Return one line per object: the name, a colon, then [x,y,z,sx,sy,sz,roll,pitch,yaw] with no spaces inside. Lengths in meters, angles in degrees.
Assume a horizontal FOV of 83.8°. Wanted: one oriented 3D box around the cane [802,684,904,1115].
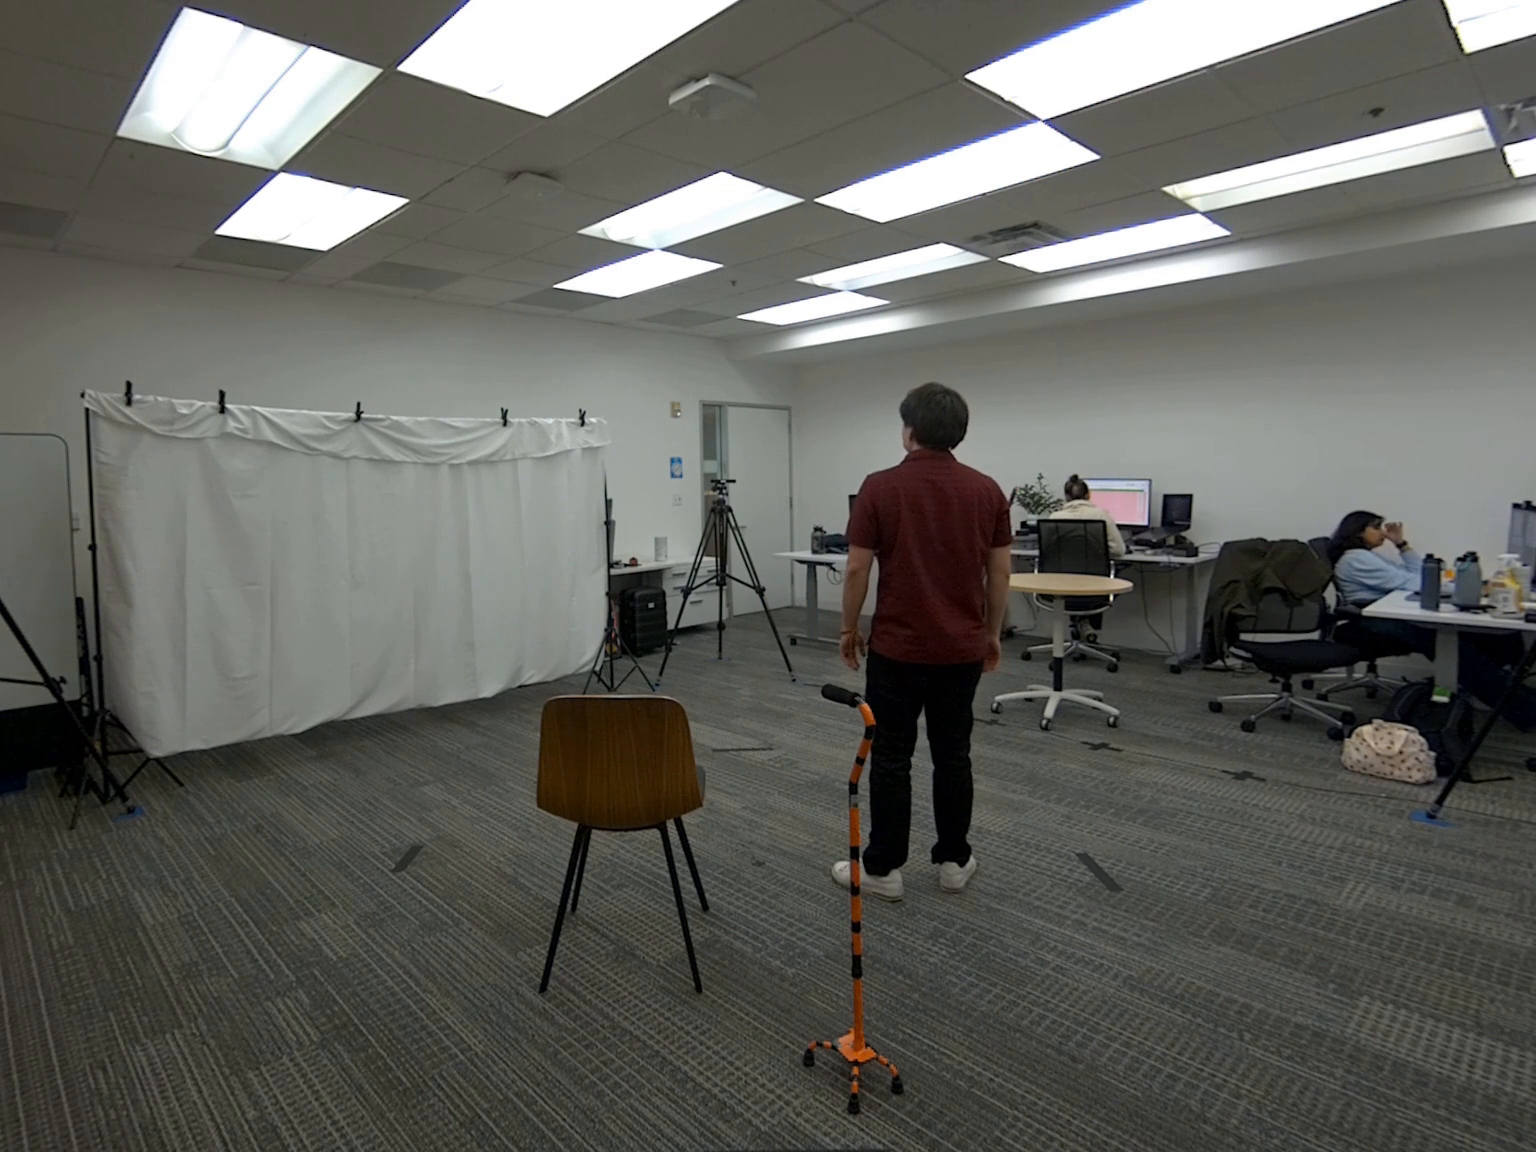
cane: [0.199,0.725,1.969,0.148,0.906,0.212,-2,3,-32]
